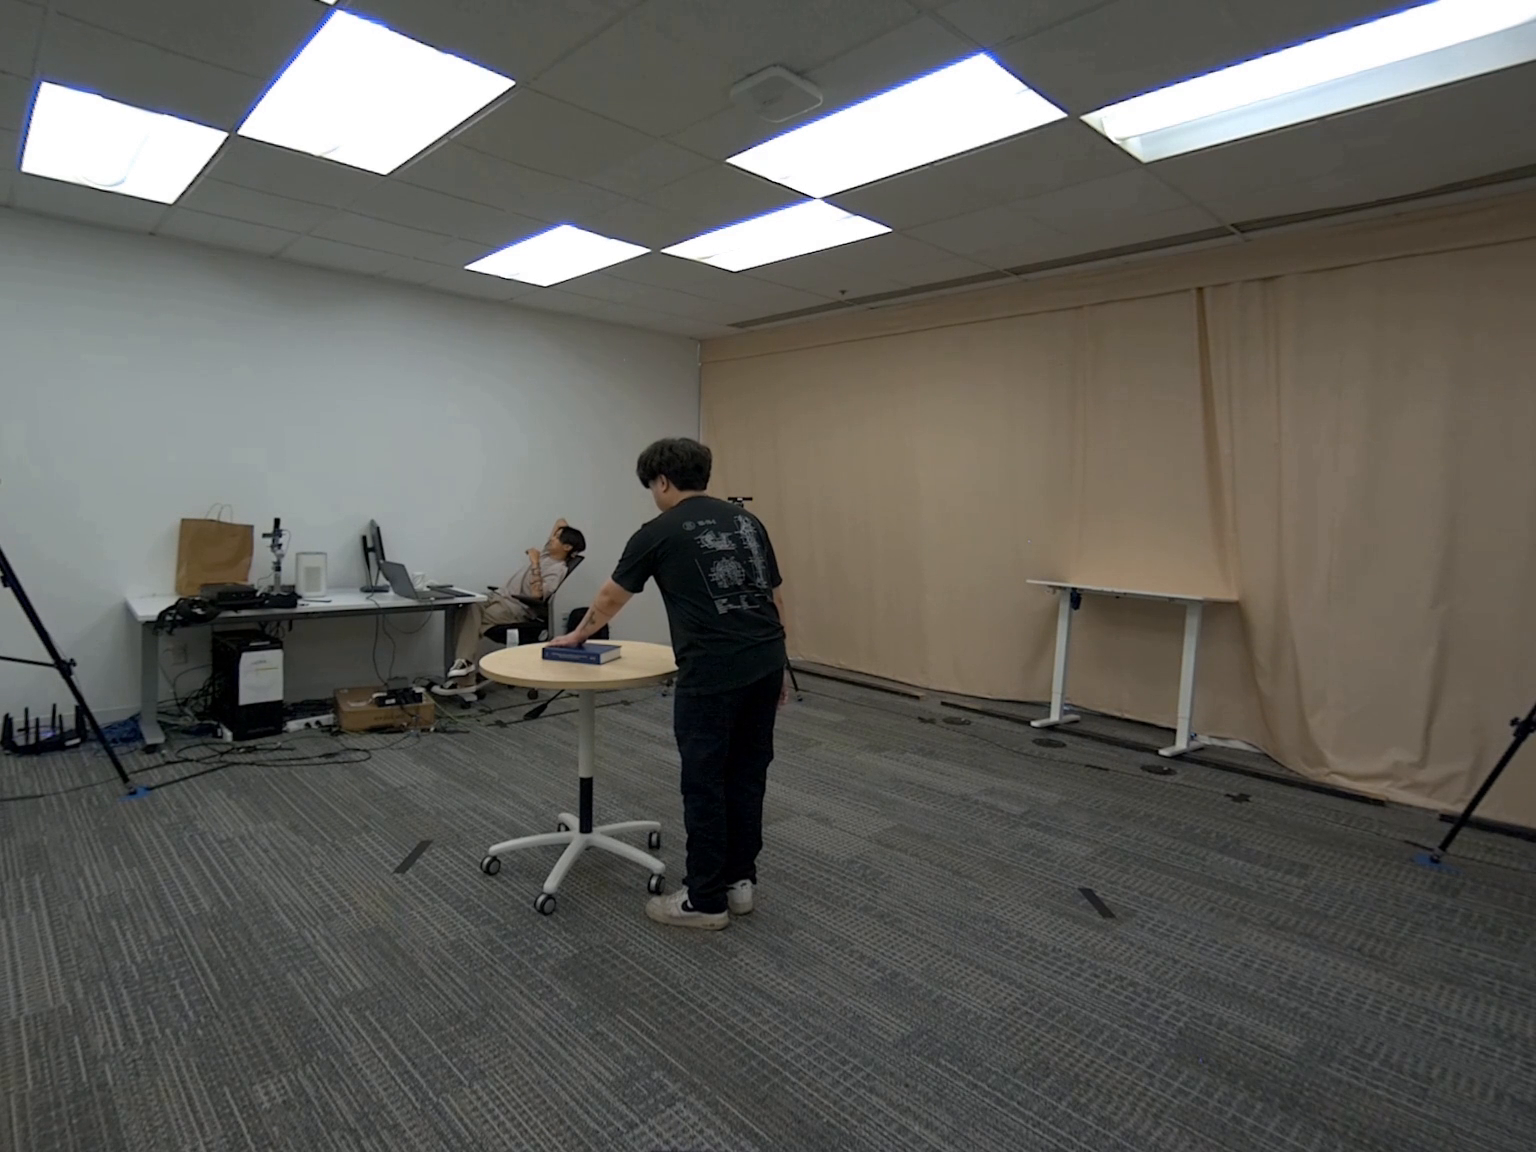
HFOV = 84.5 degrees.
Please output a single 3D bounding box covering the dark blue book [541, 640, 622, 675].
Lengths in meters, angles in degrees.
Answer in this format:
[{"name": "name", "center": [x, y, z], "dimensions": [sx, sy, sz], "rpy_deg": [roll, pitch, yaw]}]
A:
[{"name": "dark blue book", "center": [-0.700, 0.284, 3.103], "dimensions": [0.249, 0.045, 0.161], "rpy_deg": [3, 6, 20]}]
